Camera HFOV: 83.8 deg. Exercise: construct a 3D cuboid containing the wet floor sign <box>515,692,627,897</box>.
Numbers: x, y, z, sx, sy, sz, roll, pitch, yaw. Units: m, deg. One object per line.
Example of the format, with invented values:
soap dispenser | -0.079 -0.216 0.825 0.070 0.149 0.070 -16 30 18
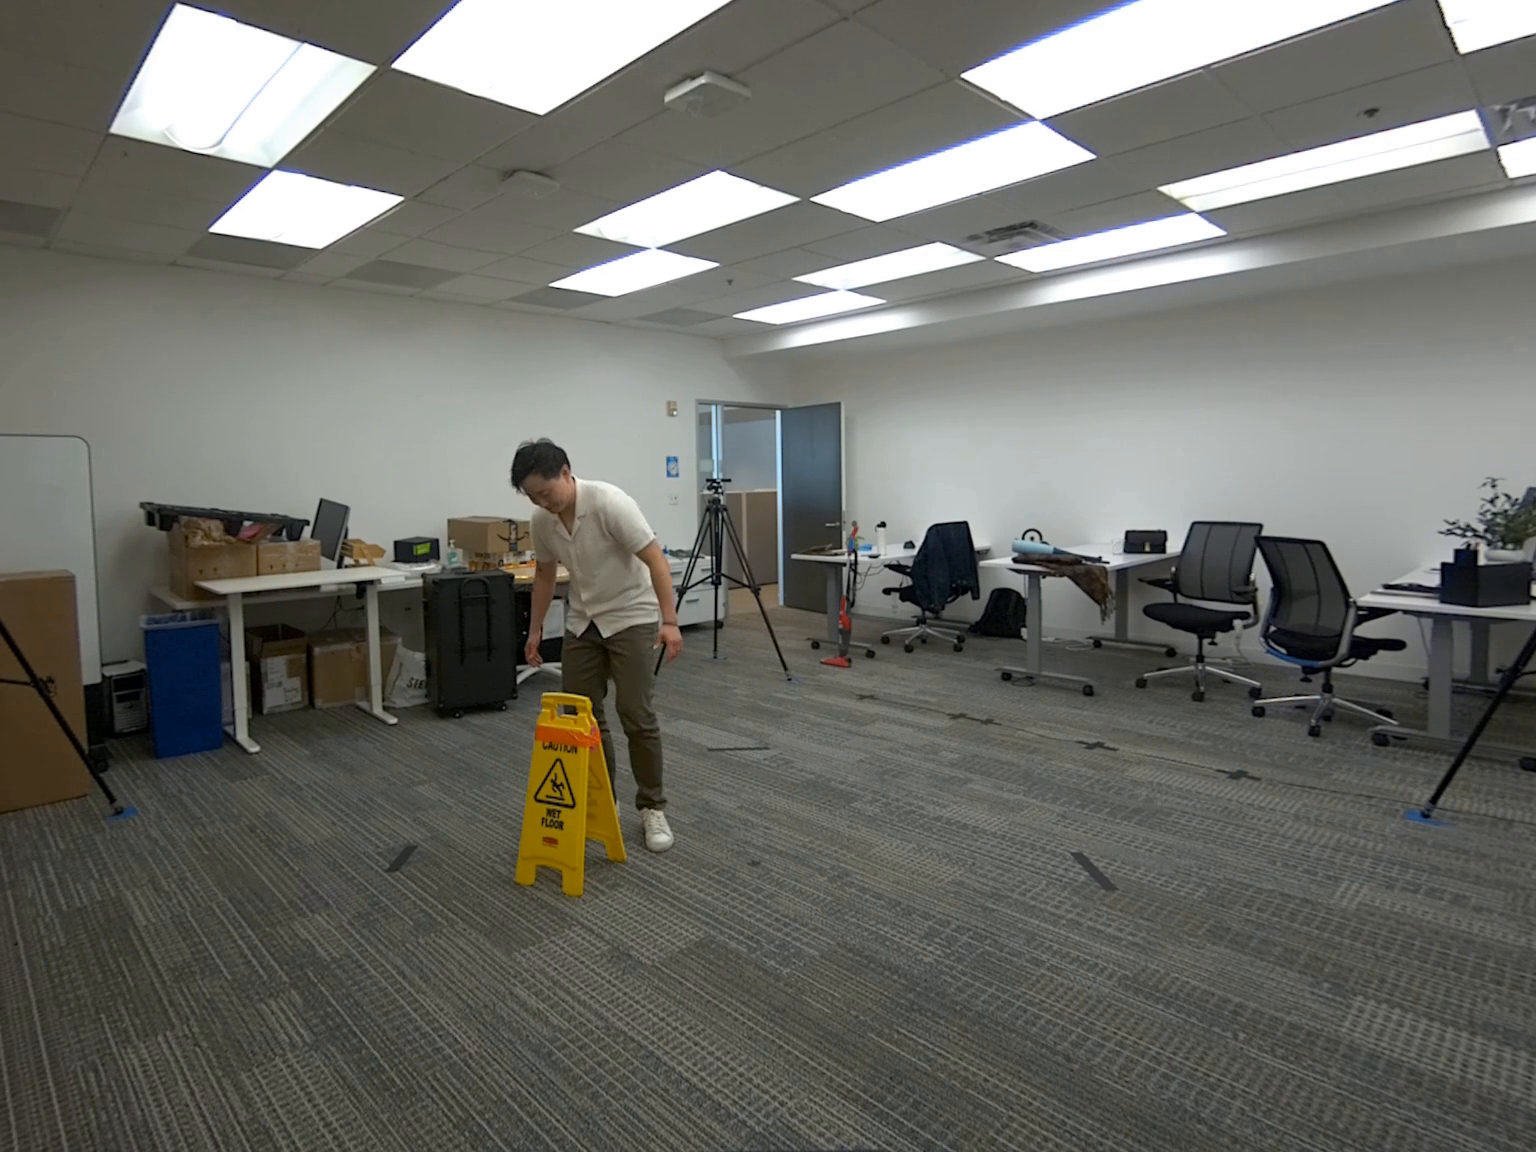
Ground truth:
wet floor sign | -0.712 0.742 3.046 0.288 0.643 0.285 -1 5 24
